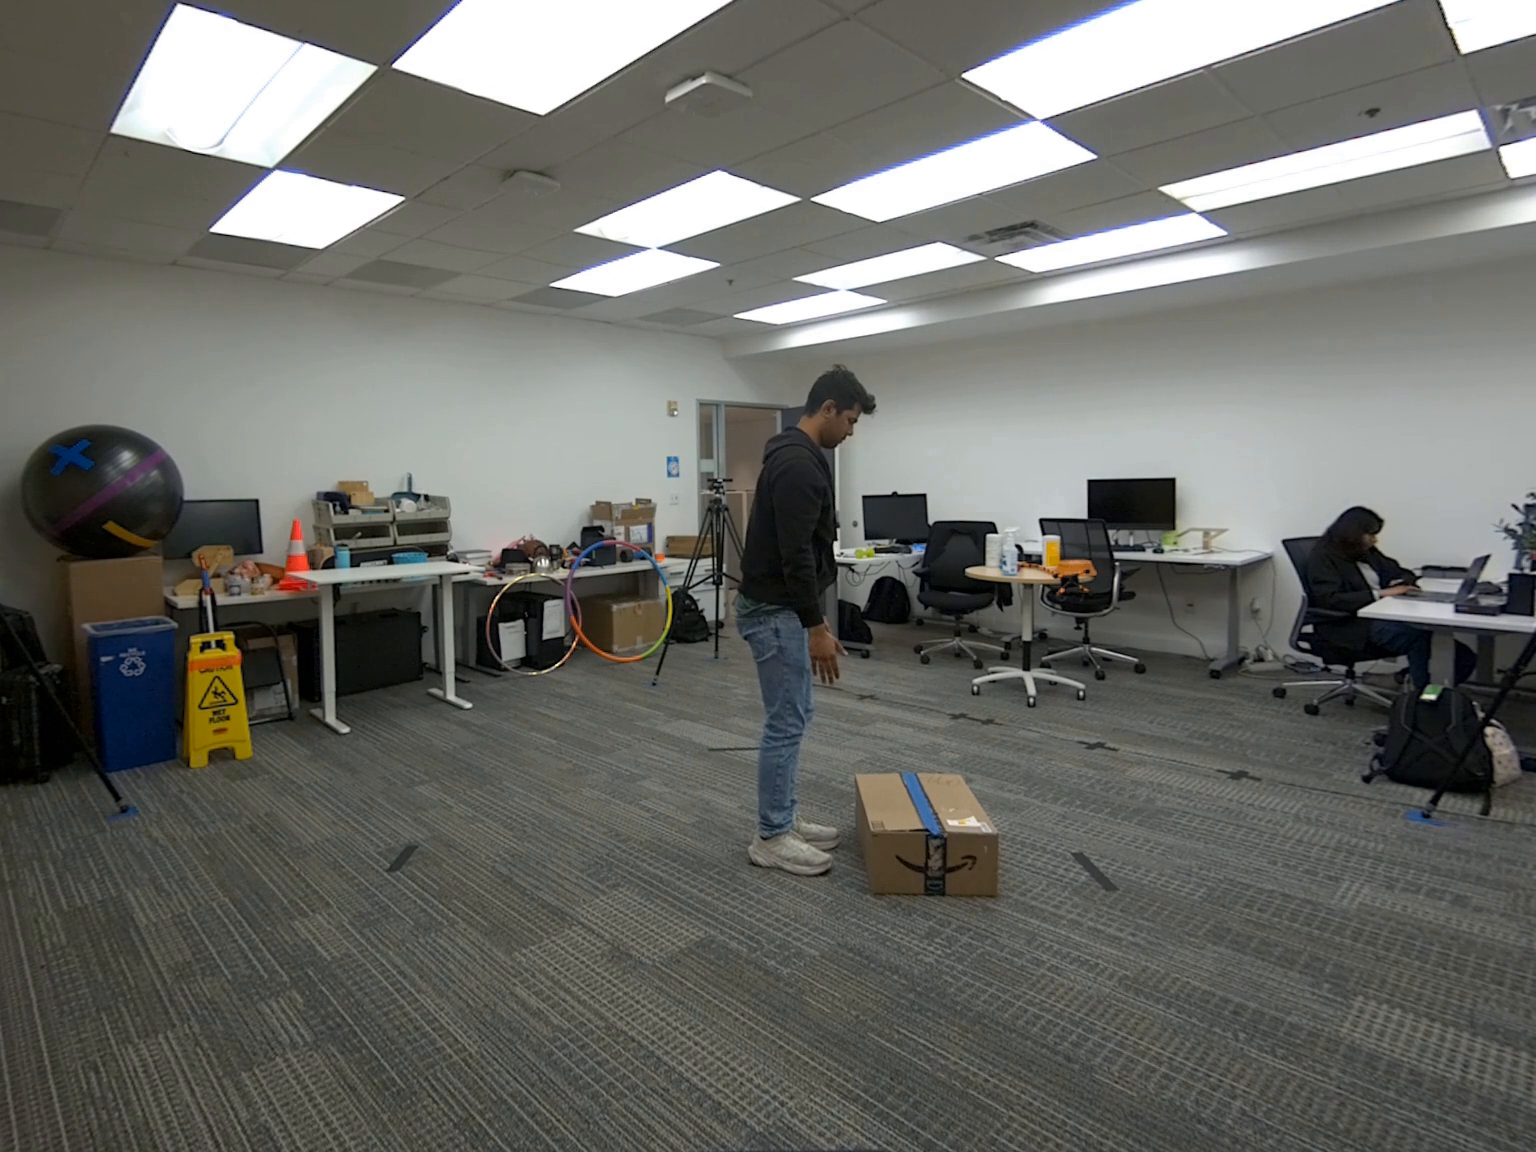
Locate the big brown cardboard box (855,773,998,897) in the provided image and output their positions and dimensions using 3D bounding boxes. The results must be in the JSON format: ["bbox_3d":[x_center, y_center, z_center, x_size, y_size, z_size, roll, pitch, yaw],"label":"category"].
[{"bbox_3d":[0.556,0.921,3.107,0.418,0.232,0.590,-1,5,1],"label":"big brown cardboard box"}]
